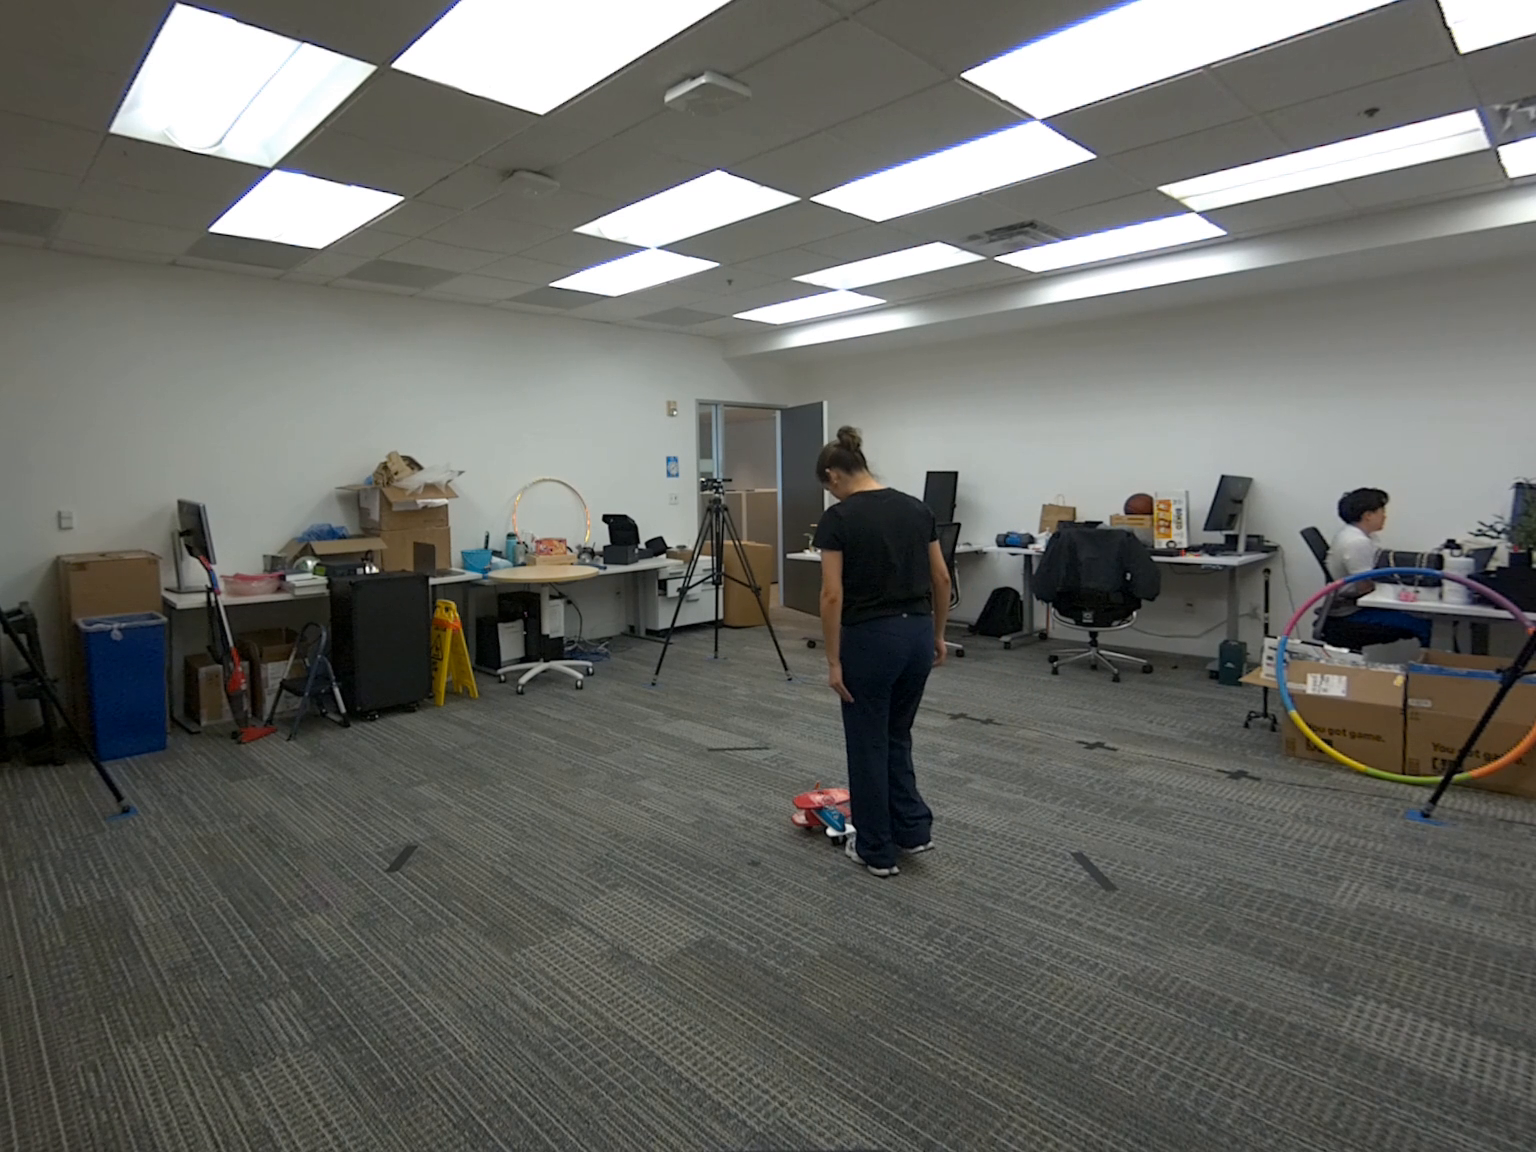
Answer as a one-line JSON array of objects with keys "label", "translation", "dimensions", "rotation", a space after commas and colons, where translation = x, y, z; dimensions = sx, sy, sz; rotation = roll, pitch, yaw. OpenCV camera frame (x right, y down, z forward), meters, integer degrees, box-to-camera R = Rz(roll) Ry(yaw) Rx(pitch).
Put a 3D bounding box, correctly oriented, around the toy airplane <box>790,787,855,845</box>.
[{"label": "toy airplane", "translation": [0.245, 0.938, 3.362], "dimensions": [0.267, 0.156, 0.244], "rotation": [2, 5, 39]}]
